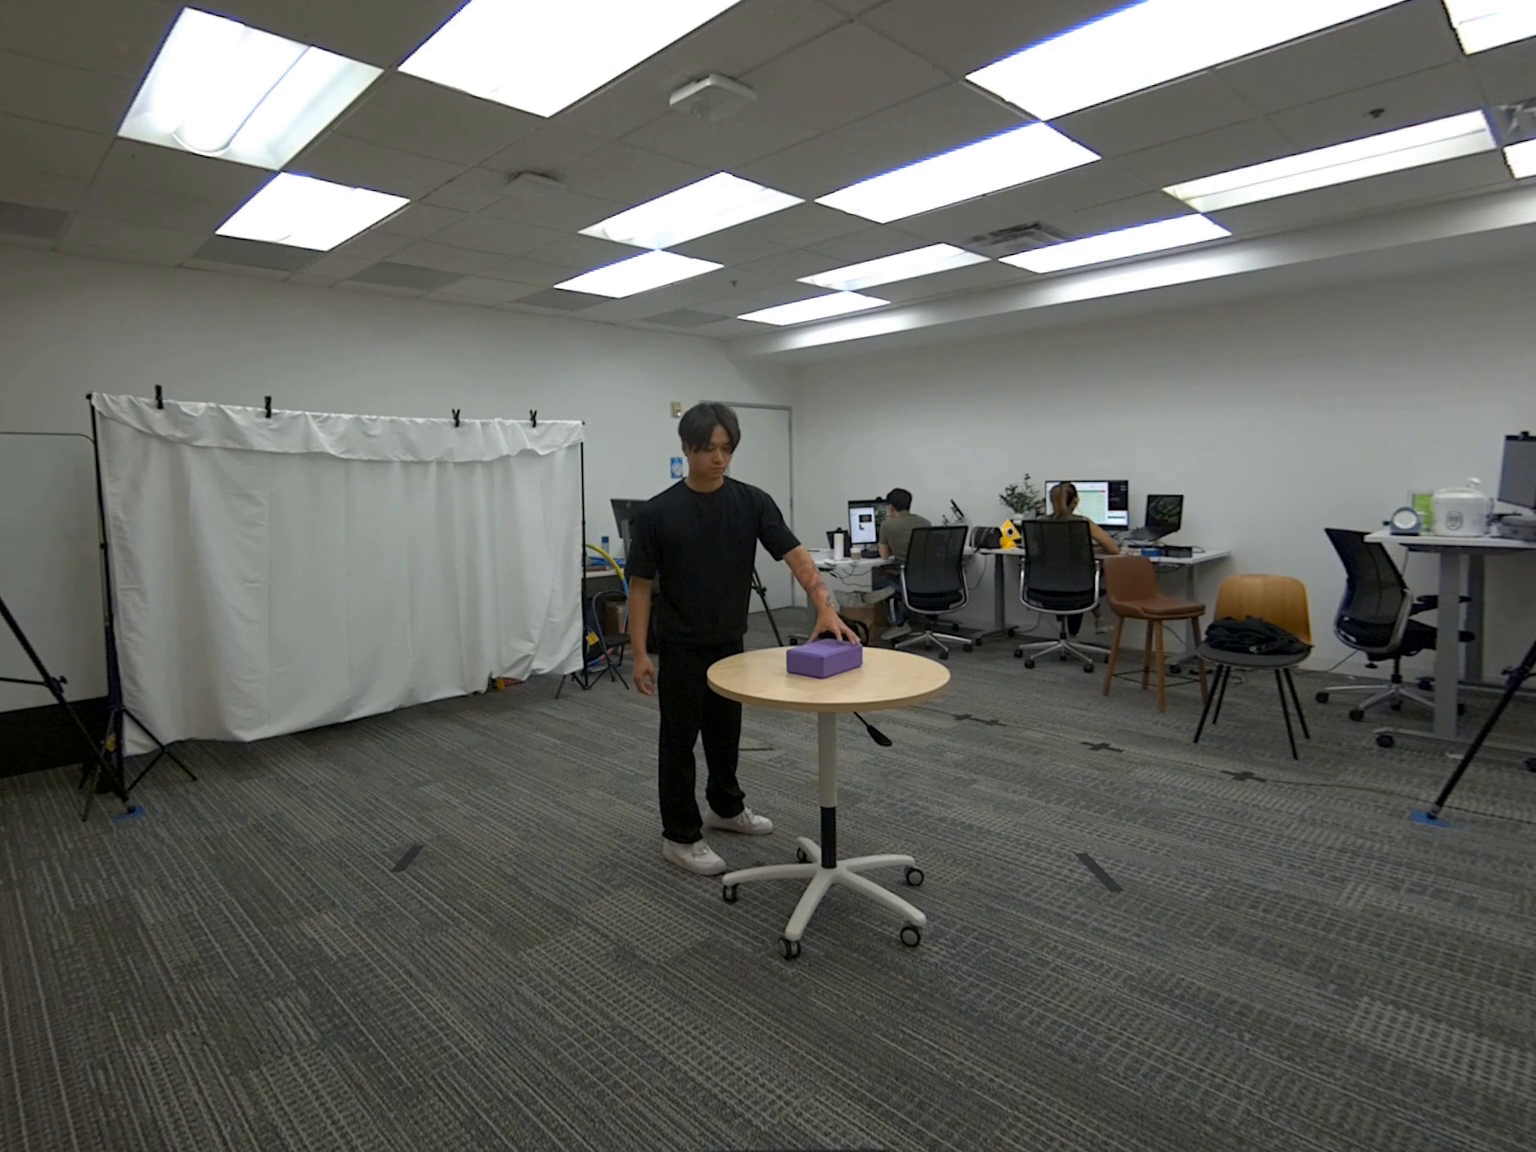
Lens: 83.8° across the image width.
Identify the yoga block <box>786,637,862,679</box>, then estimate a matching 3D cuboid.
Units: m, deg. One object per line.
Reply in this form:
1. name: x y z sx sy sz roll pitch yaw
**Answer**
1. yoga block: 0.181 0.262 2.742 0.153 0.076 0.223 5 9 40
